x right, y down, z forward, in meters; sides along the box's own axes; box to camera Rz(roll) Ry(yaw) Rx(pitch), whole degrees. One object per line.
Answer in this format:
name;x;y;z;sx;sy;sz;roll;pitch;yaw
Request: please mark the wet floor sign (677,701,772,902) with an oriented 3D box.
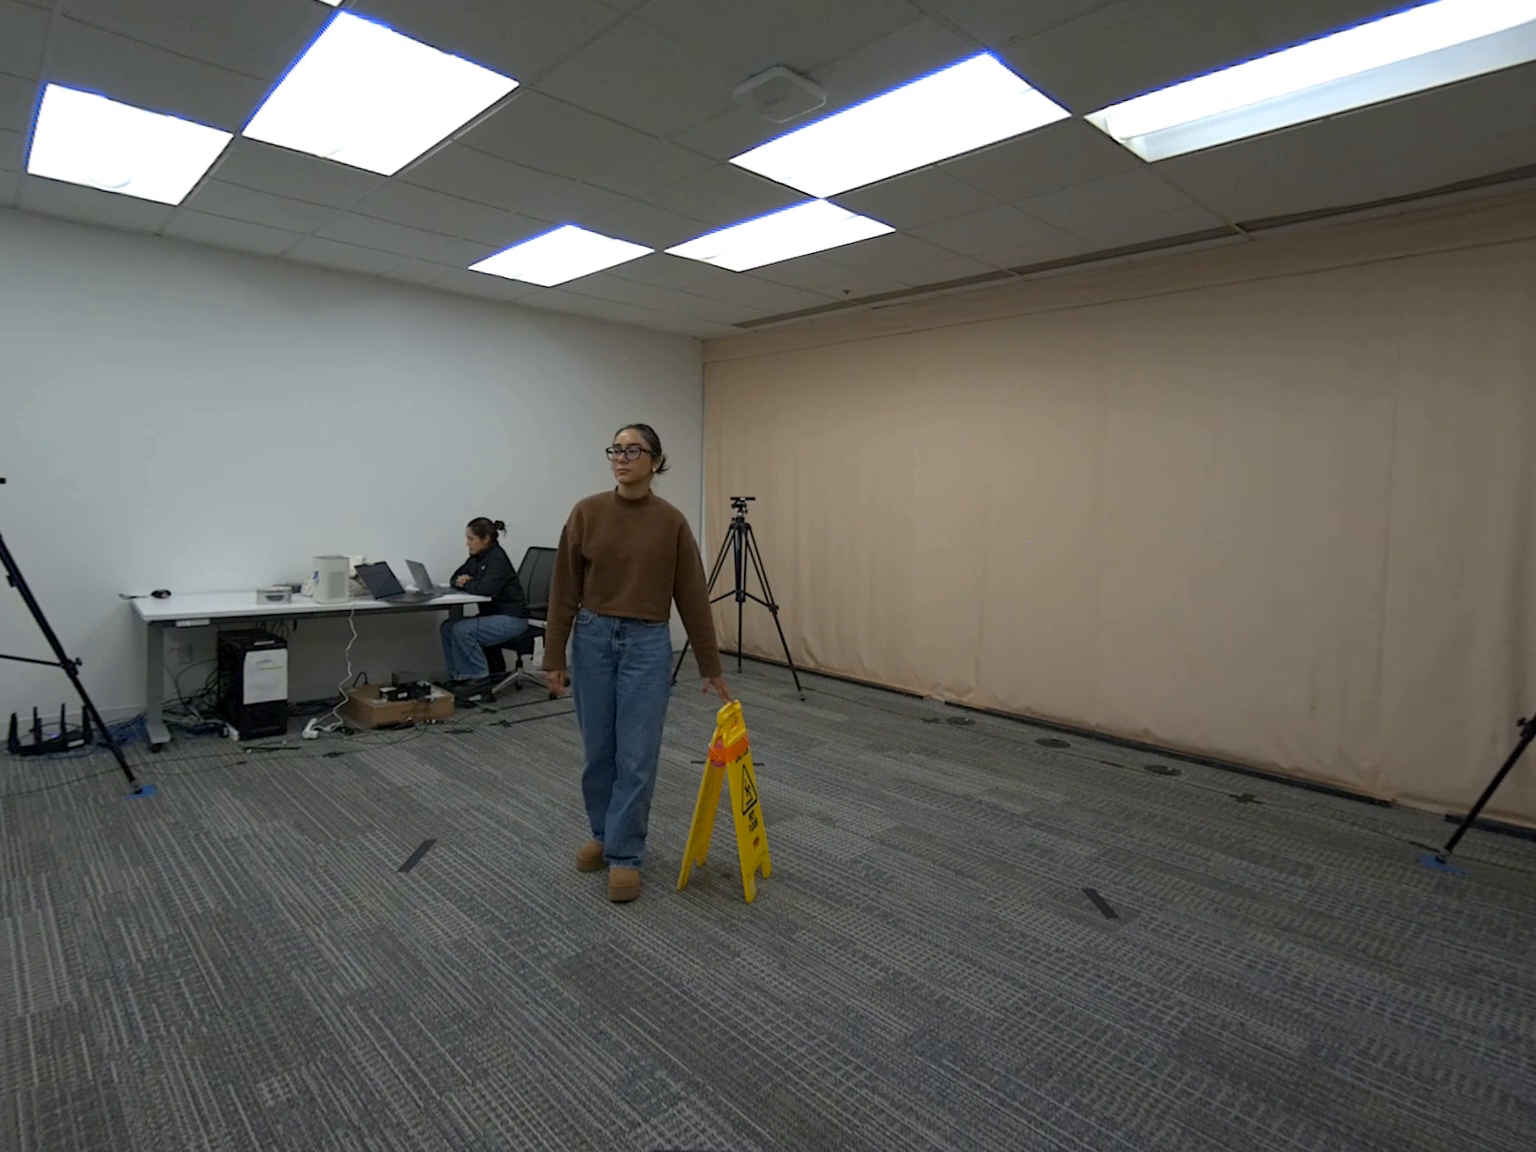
wet floor sign;-0.151;0.787;3.040;0.294;0.644;0.279;3;5;17
